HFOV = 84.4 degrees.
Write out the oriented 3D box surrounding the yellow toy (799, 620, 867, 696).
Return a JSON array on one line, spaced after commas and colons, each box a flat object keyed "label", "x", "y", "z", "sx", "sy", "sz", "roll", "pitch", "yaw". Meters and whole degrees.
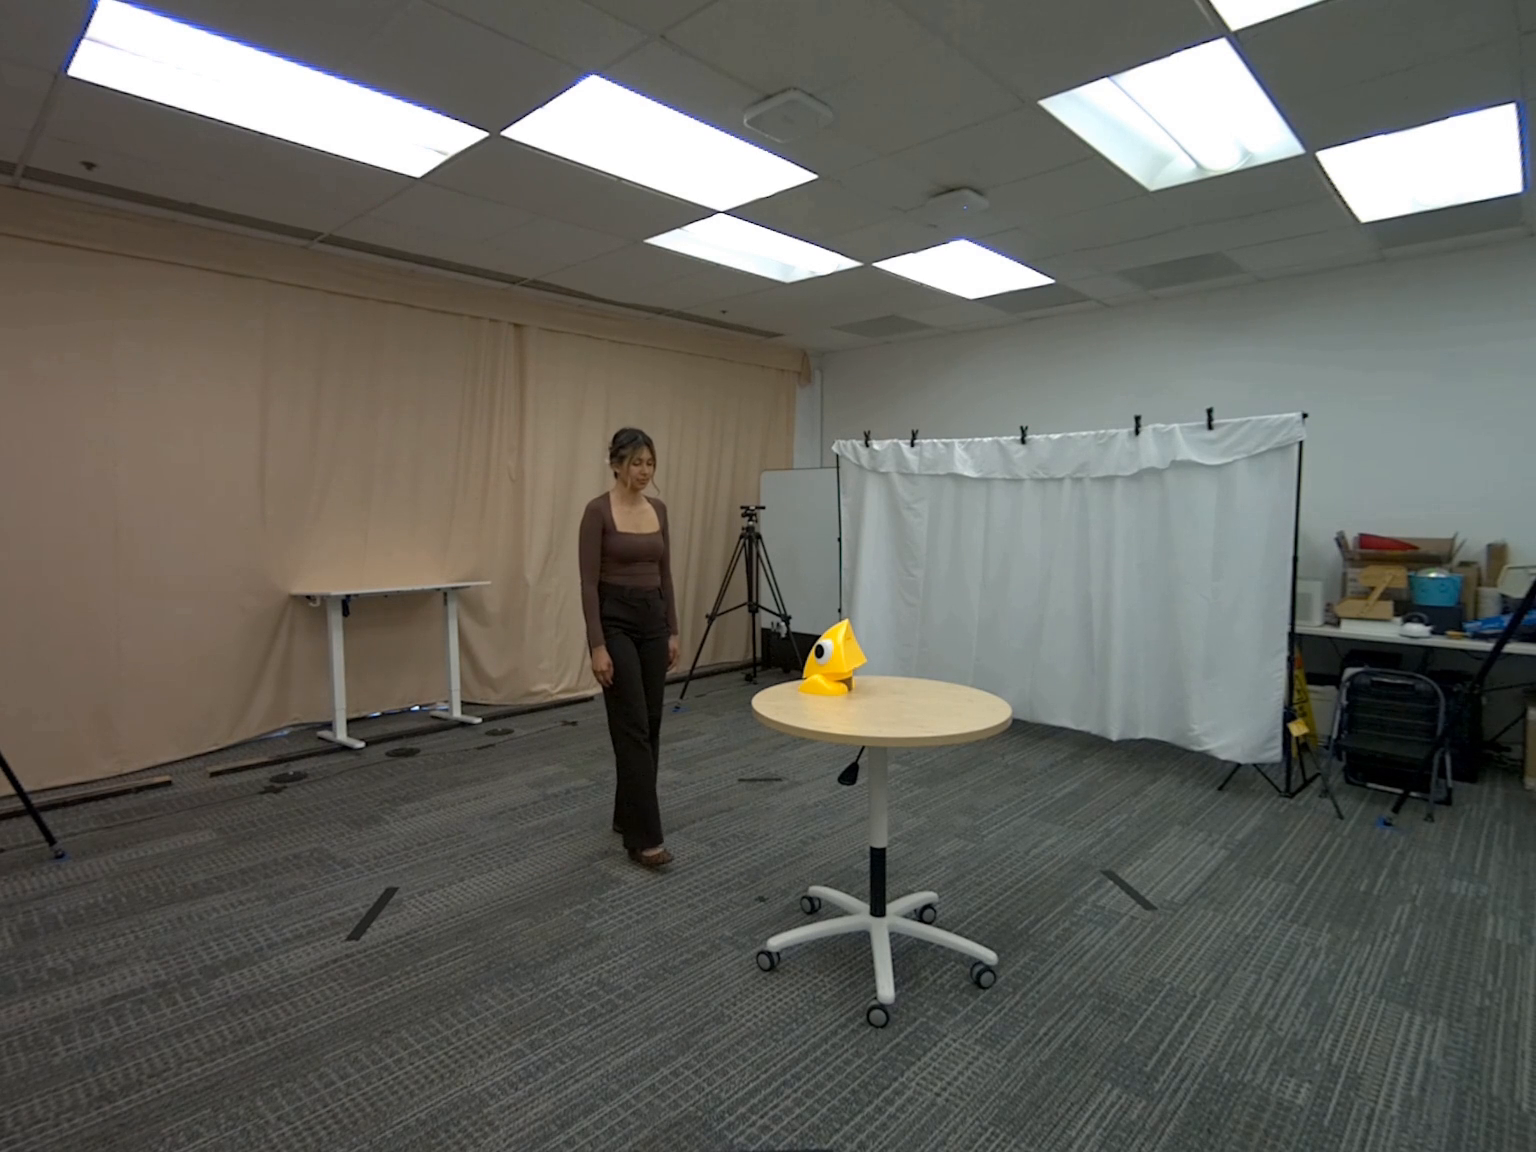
[{"label": "yellow toy", "x": 0.207, "y": 0.253, "z": 2.737, "sx": 0.198, "sy": 0.230, "sz": 0.200, "roll": 2, "pitch": 5, "yaw": 26}]
